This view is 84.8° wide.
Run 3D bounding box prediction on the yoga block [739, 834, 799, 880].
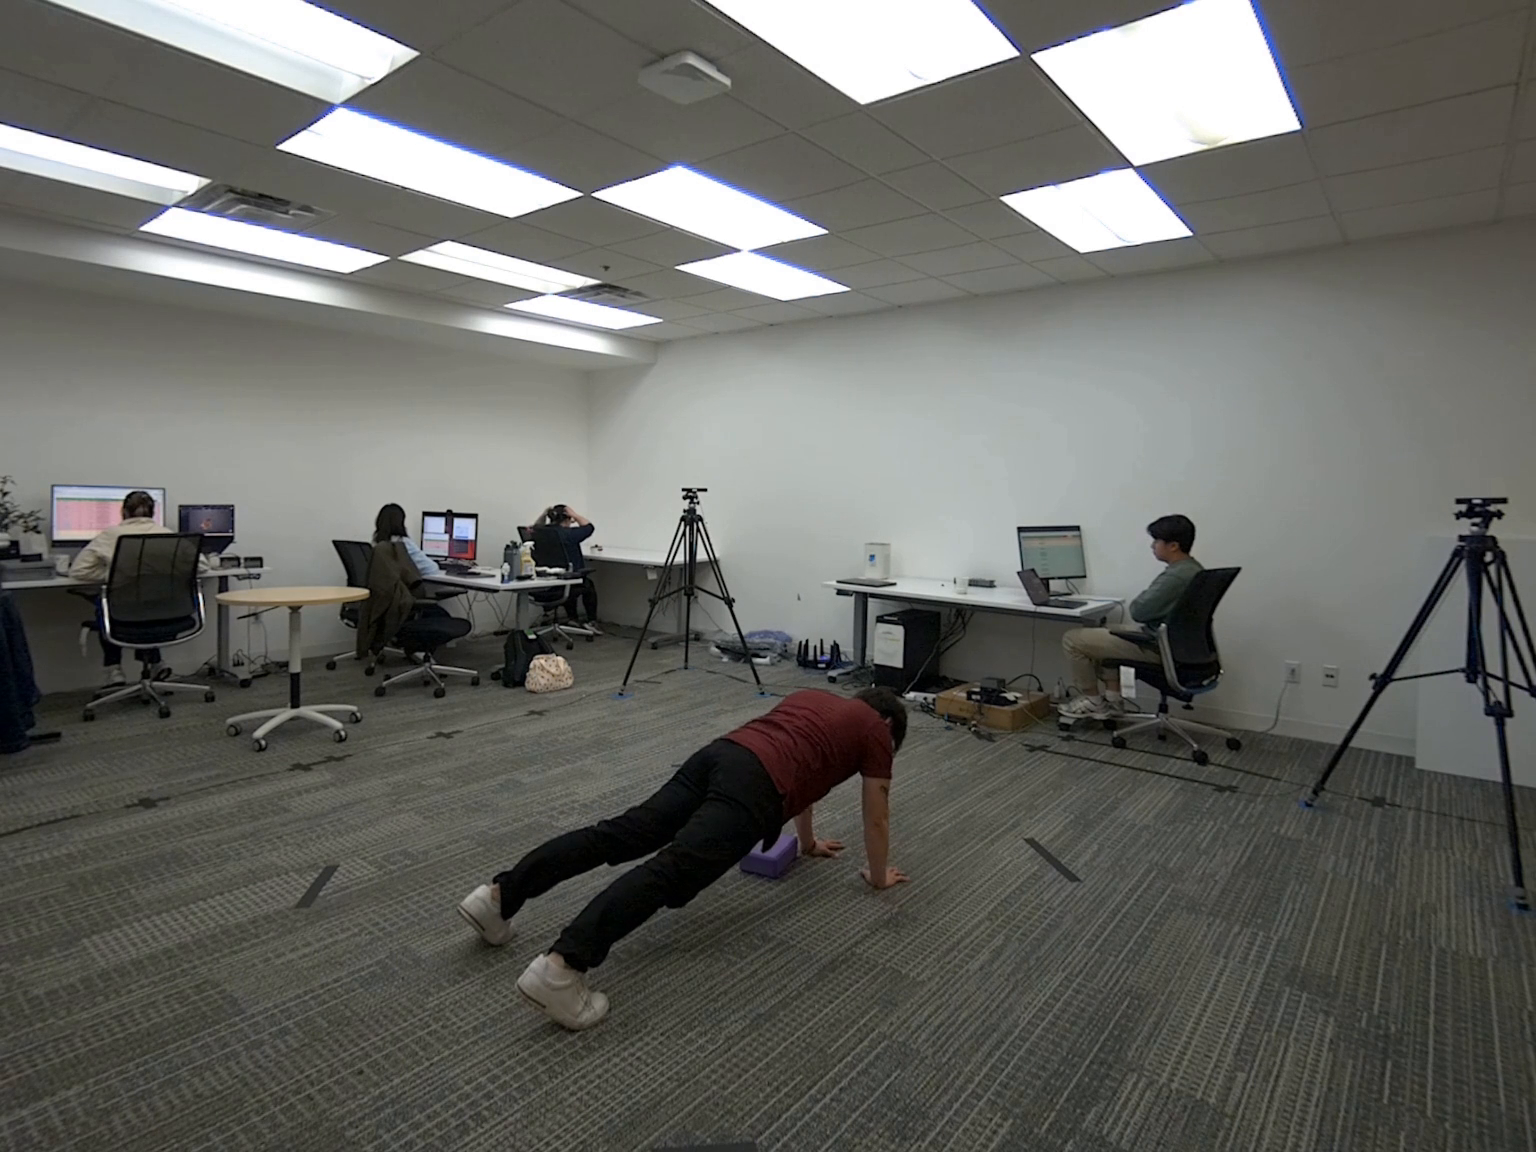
[{"bbox_3d":[-0.004,1.024,3.166,0.153,0.076,0.224,3,5,25],"label":"yoga block"}]
